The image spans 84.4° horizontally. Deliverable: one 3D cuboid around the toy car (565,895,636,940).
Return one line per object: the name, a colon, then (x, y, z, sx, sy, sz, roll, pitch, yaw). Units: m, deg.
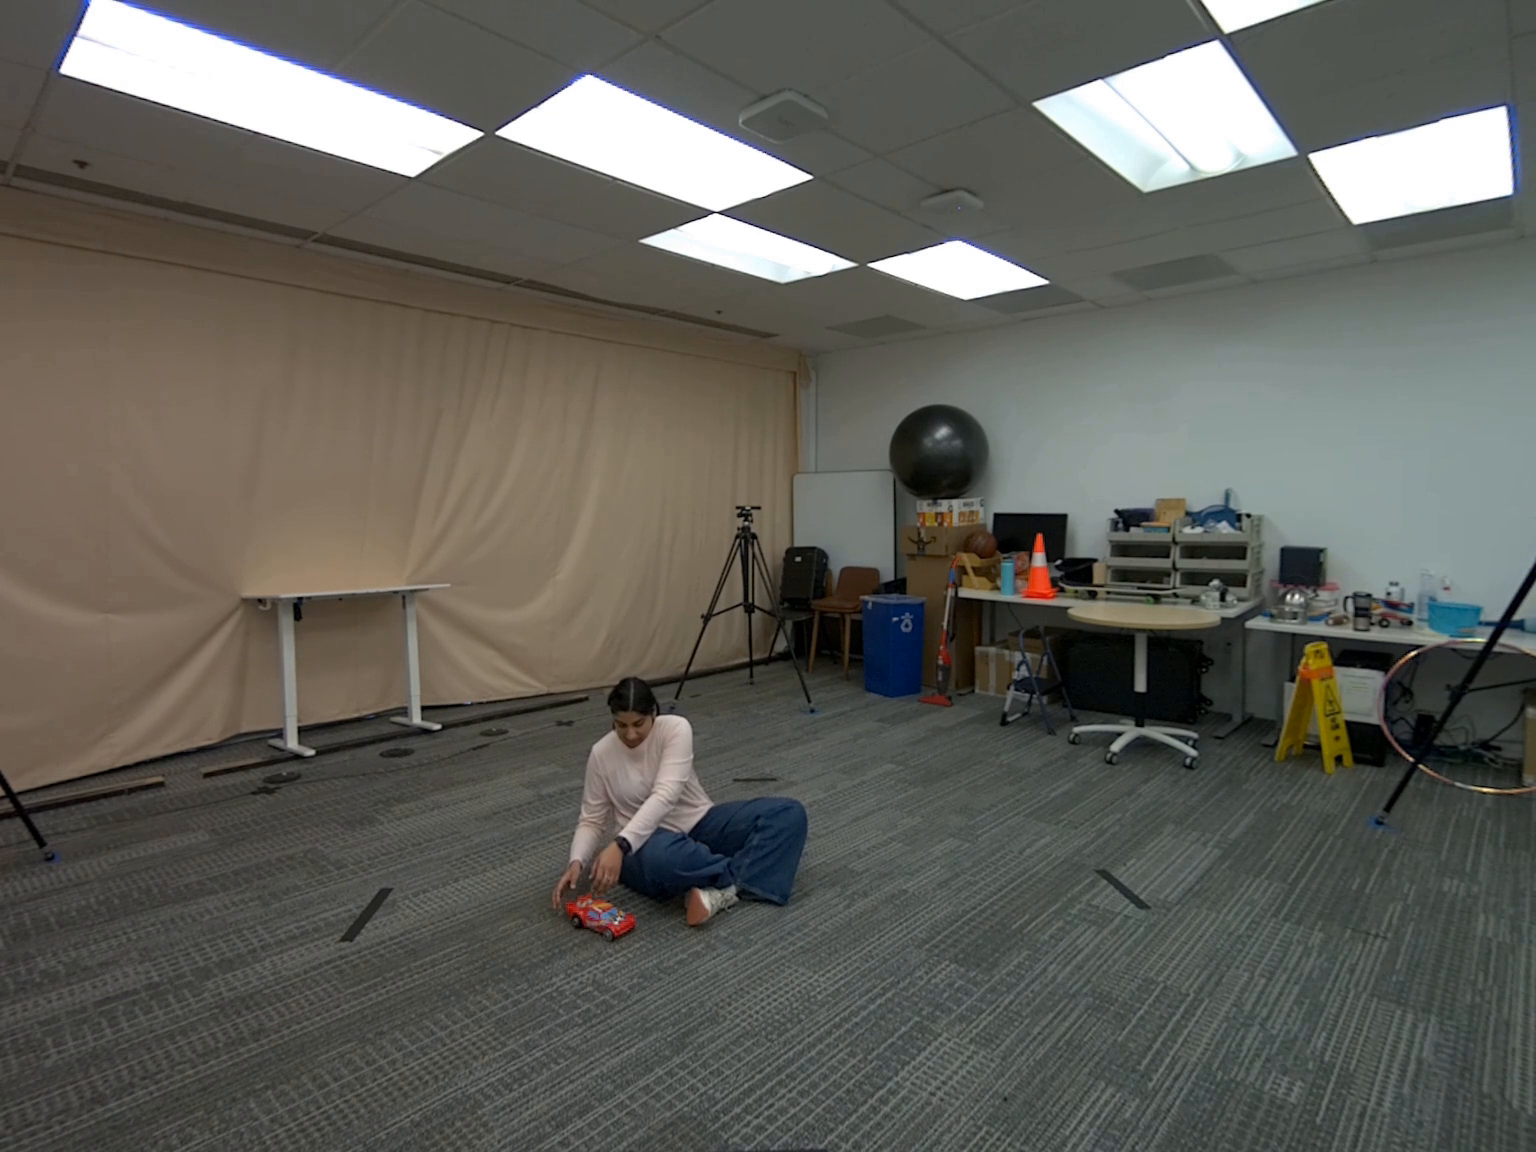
toy car: (-0.556, 1.121, 2.802, 0.263, 0.083, 0.126, 15, 13, 34)
